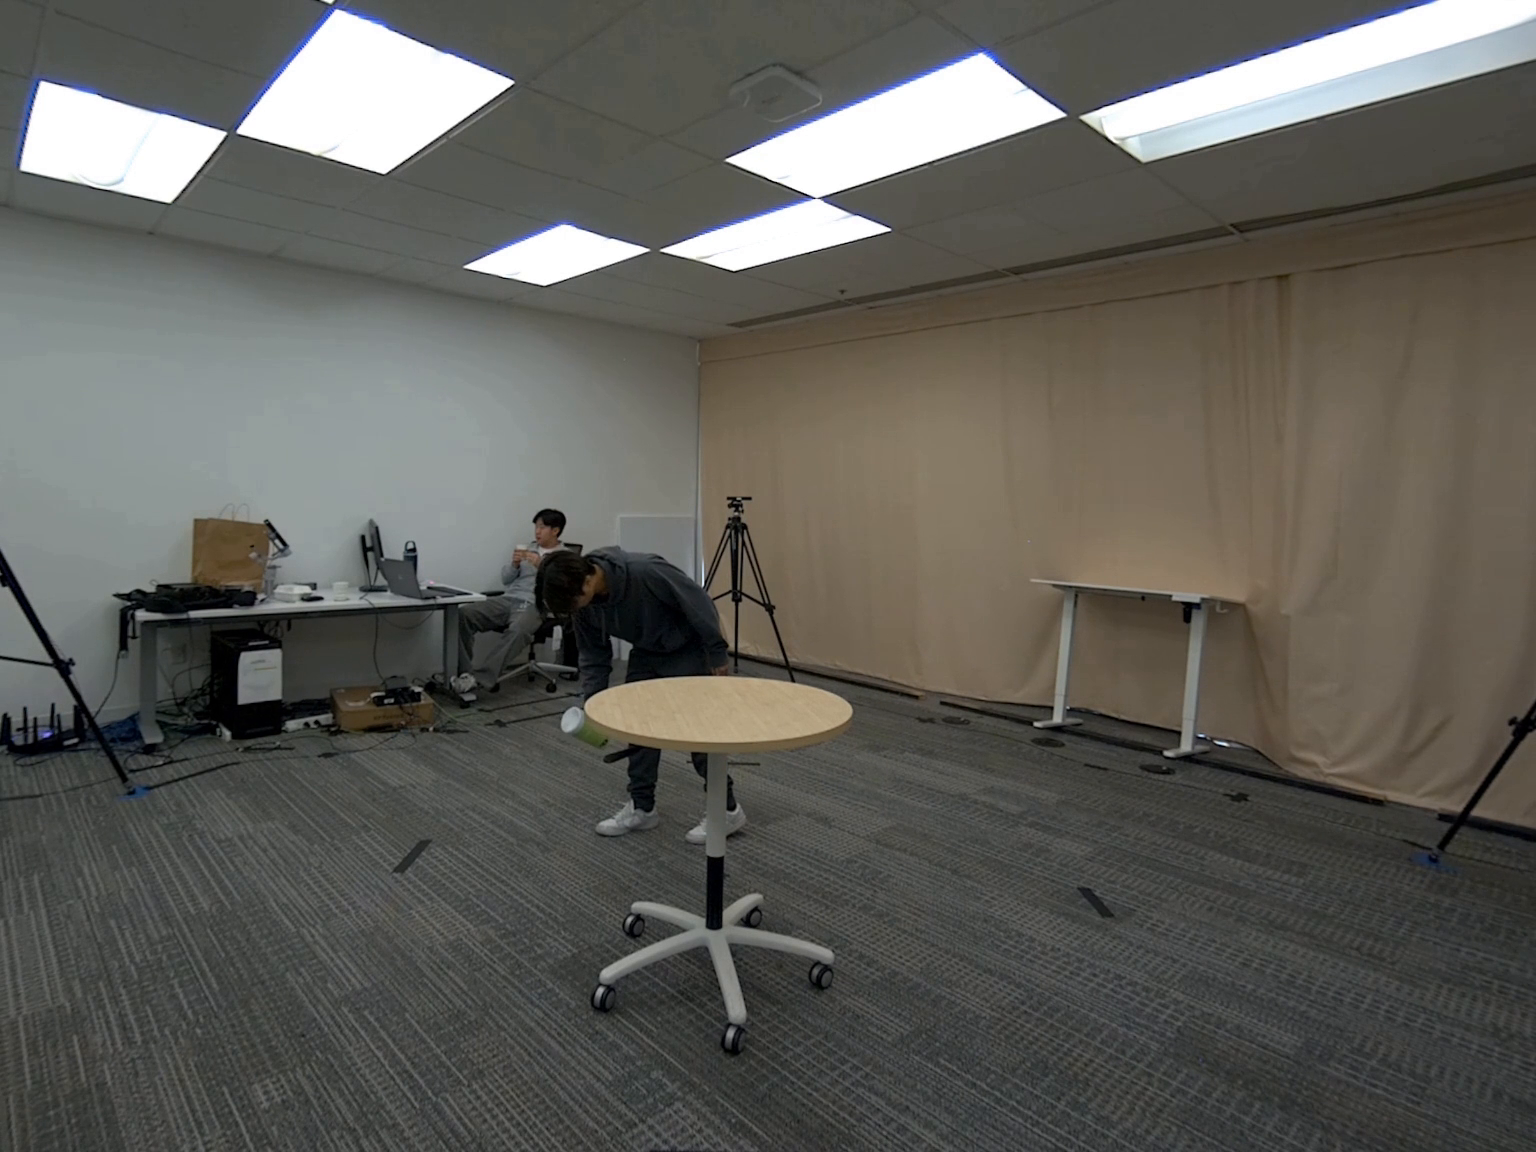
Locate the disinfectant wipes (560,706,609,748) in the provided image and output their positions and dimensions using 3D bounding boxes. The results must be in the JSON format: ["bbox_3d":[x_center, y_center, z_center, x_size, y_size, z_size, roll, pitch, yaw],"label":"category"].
[{"bbox_3d":[-0.739,0.622,3.412,0.121,0.118,0.210,5,-26,42],"label":"disinfectant wipes"}]
